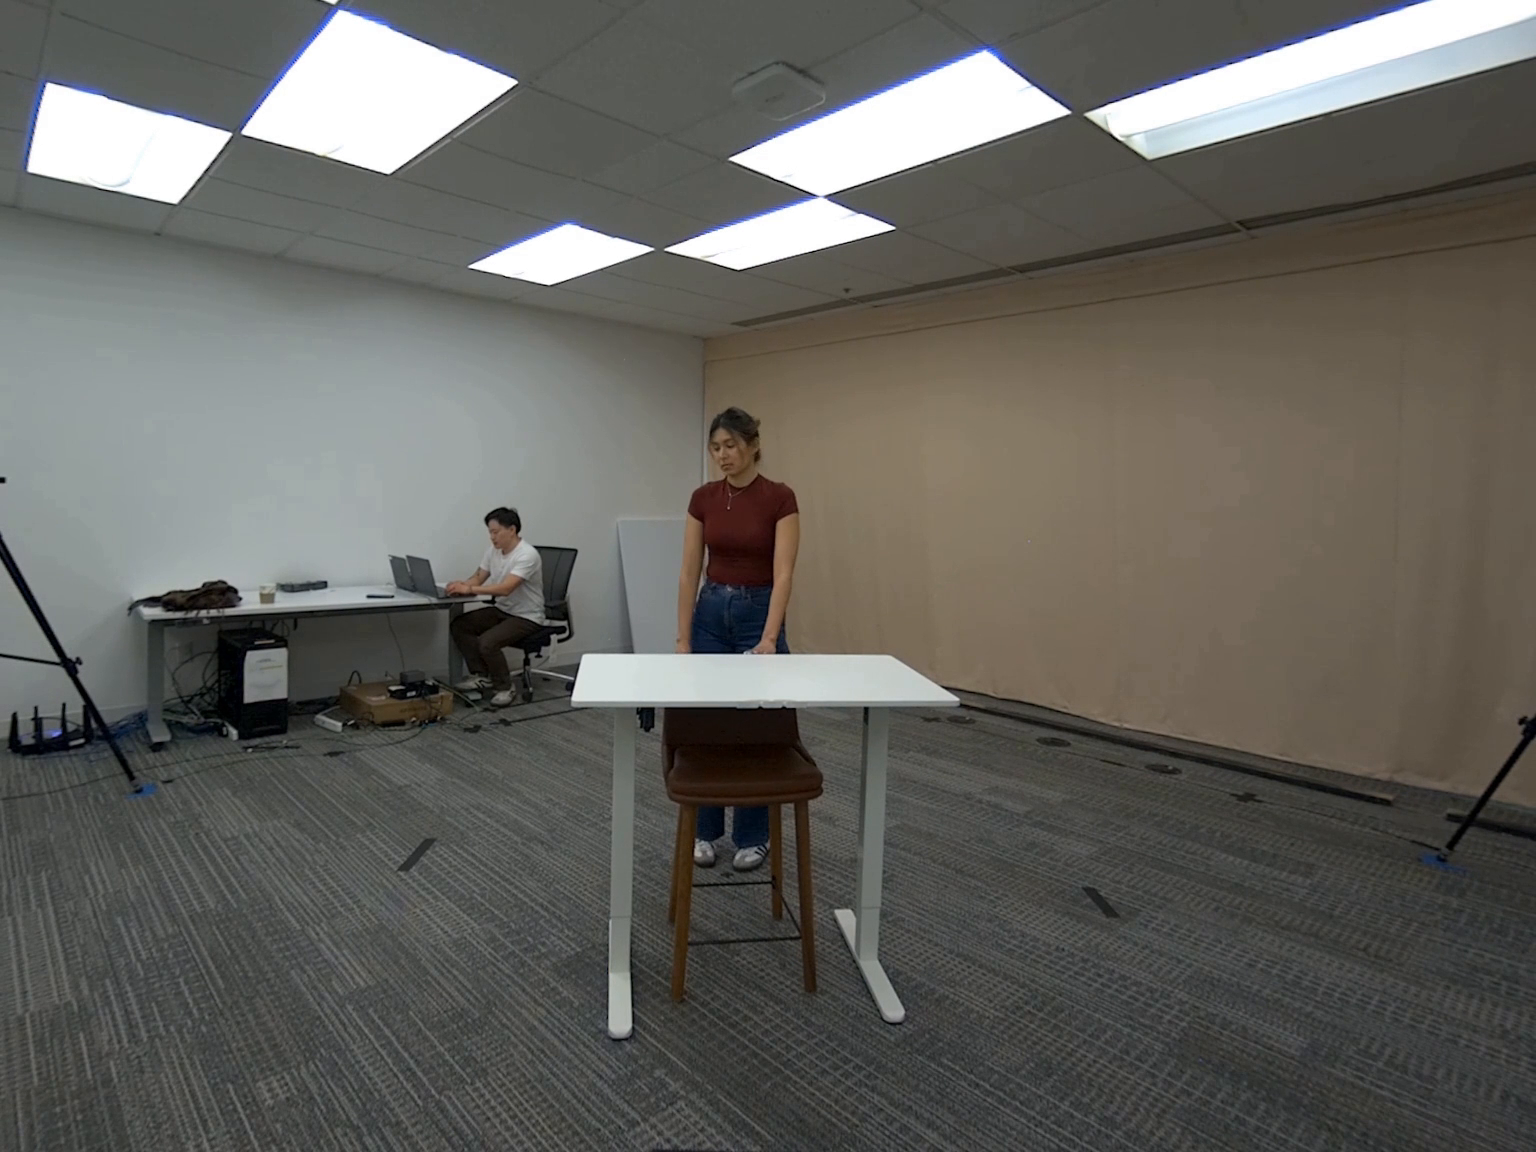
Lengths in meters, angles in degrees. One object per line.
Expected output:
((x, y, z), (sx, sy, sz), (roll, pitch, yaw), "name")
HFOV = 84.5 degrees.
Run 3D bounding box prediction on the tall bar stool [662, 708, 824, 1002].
((-0.112, 0.726, 2.546), (0.454, 0.889, 0.470), (-1, 2, -6), "tall bar stool")
